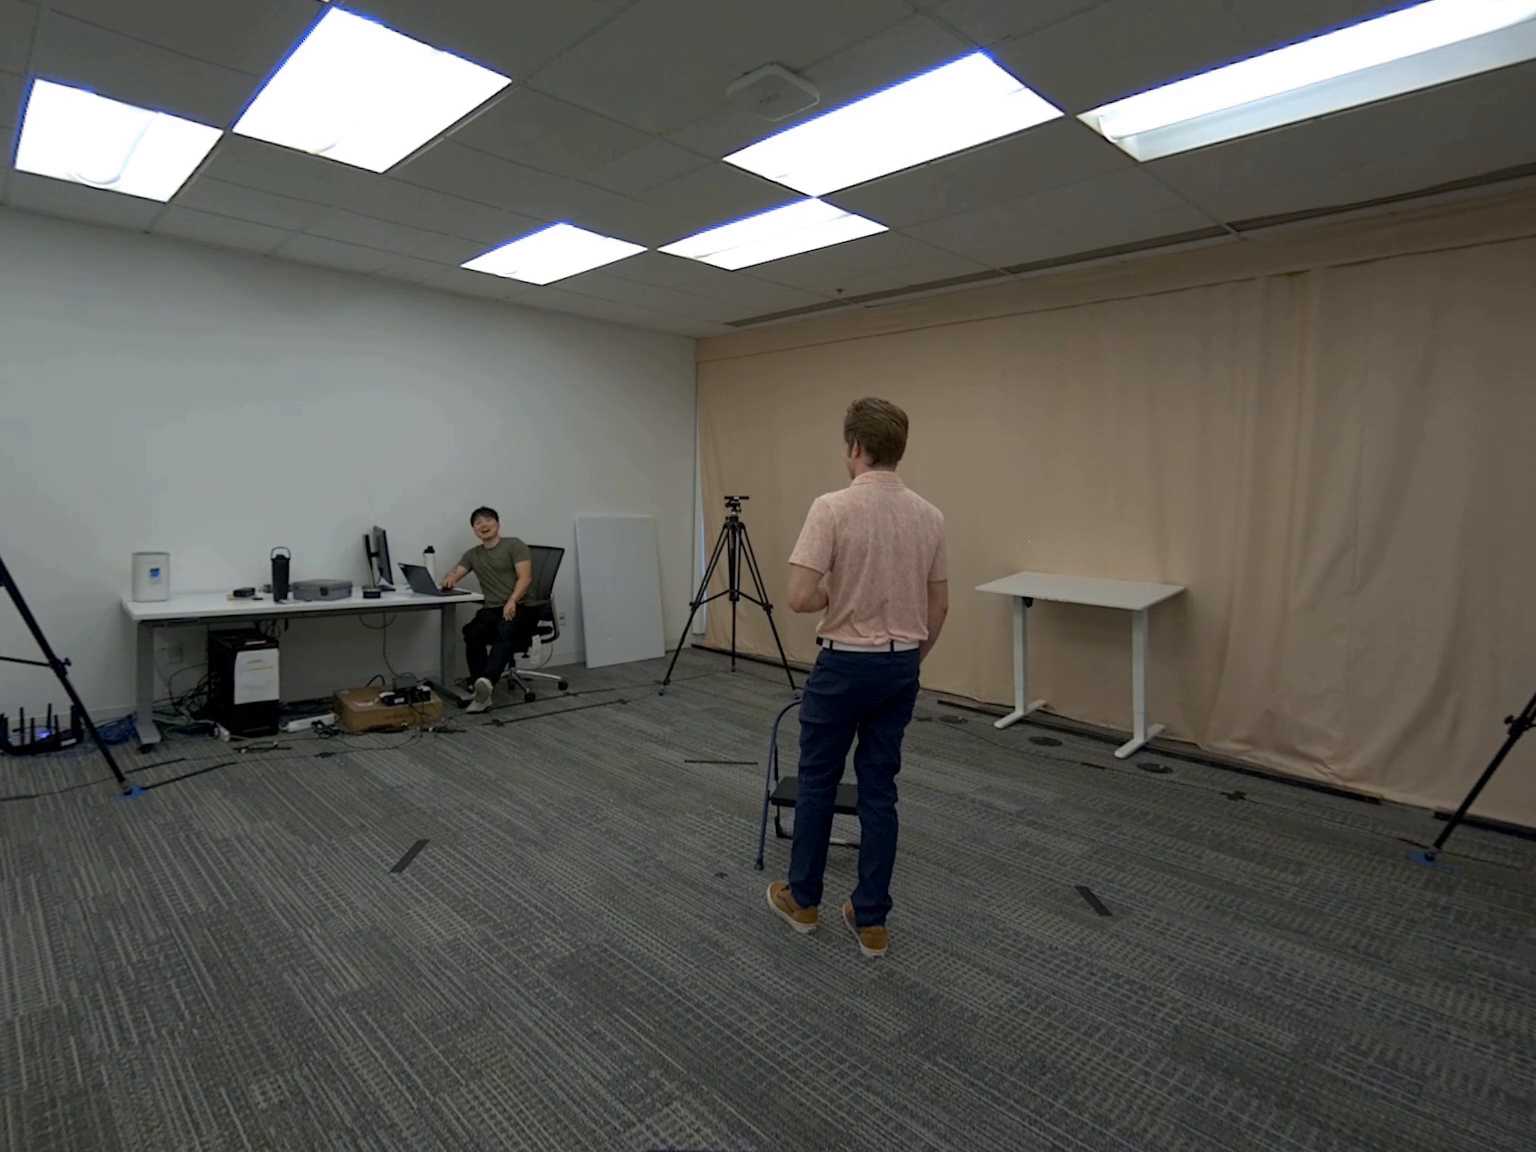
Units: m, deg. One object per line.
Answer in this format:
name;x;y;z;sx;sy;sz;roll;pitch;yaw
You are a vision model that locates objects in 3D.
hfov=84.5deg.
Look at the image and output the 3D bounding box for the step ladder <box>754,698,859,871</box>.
step ladder;0.198;0.798;3.248;0.436;0.604;0.346;3;4;15
